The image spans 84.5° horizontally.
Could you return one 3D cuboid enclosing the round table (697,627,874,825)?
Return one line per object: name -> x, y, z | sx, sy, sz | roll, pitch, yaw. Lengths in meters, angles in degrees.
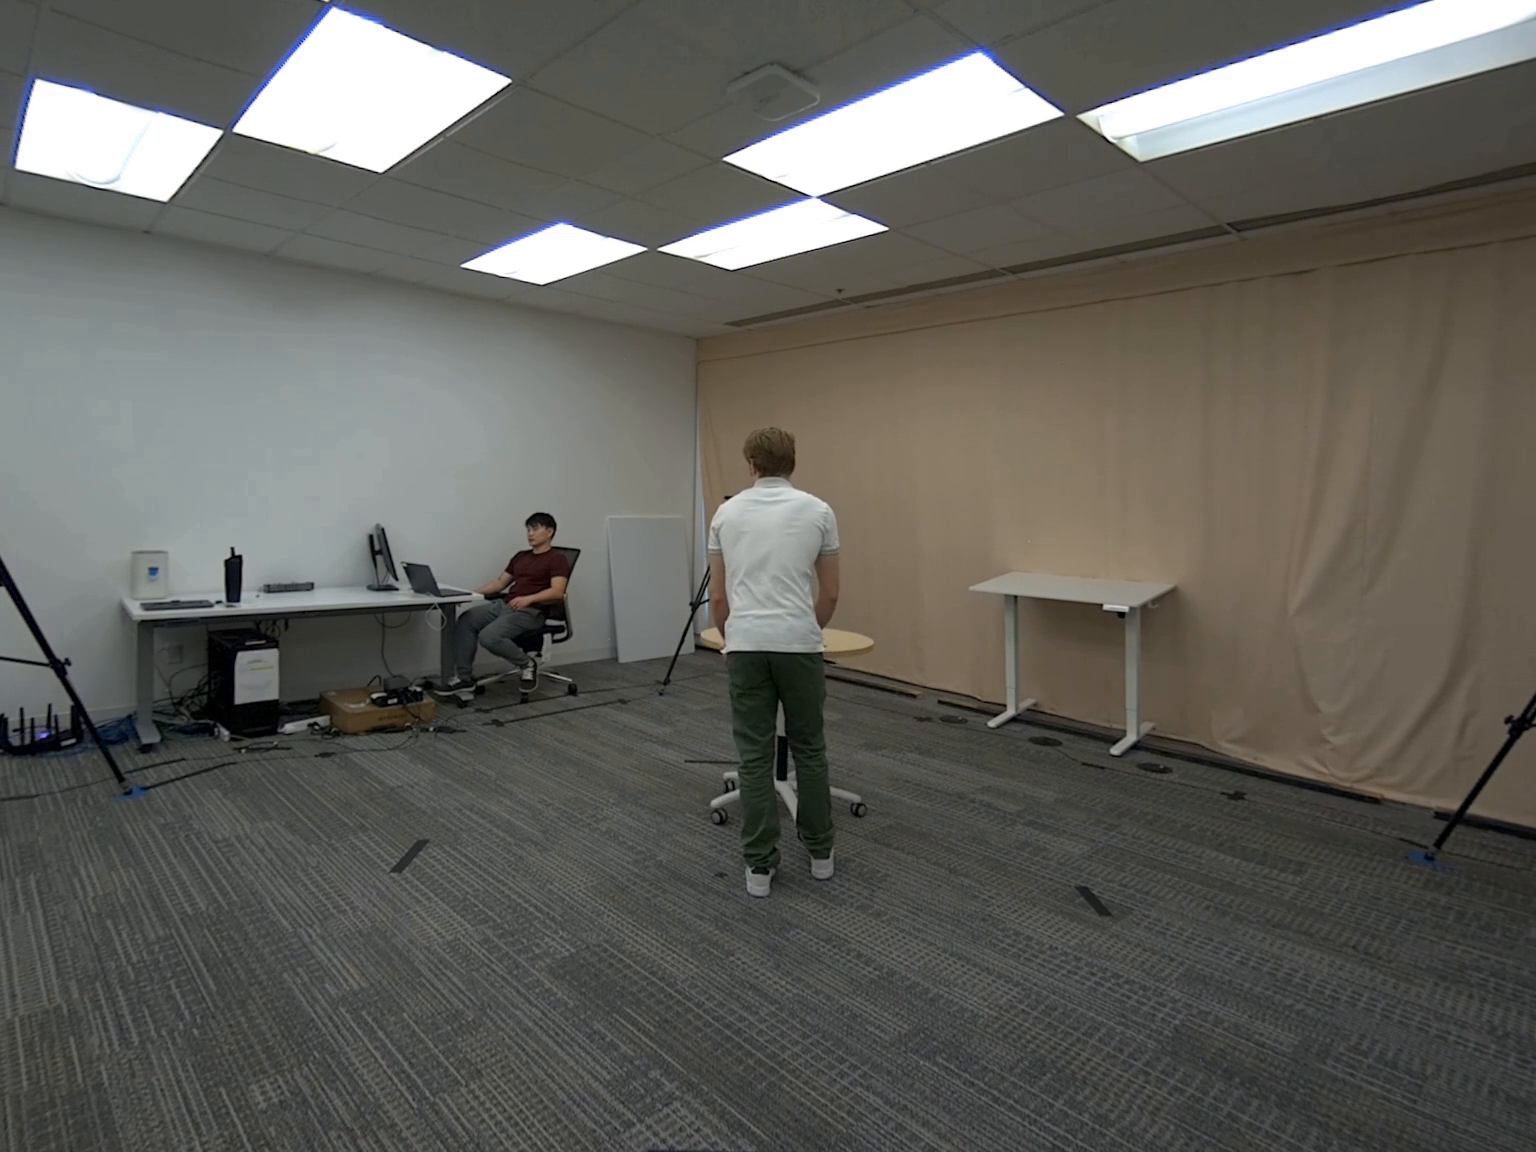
round table -> 0.064, 0.665, 3.759 | 0.763, 0.792, 0.766 | 2, 4, -1
